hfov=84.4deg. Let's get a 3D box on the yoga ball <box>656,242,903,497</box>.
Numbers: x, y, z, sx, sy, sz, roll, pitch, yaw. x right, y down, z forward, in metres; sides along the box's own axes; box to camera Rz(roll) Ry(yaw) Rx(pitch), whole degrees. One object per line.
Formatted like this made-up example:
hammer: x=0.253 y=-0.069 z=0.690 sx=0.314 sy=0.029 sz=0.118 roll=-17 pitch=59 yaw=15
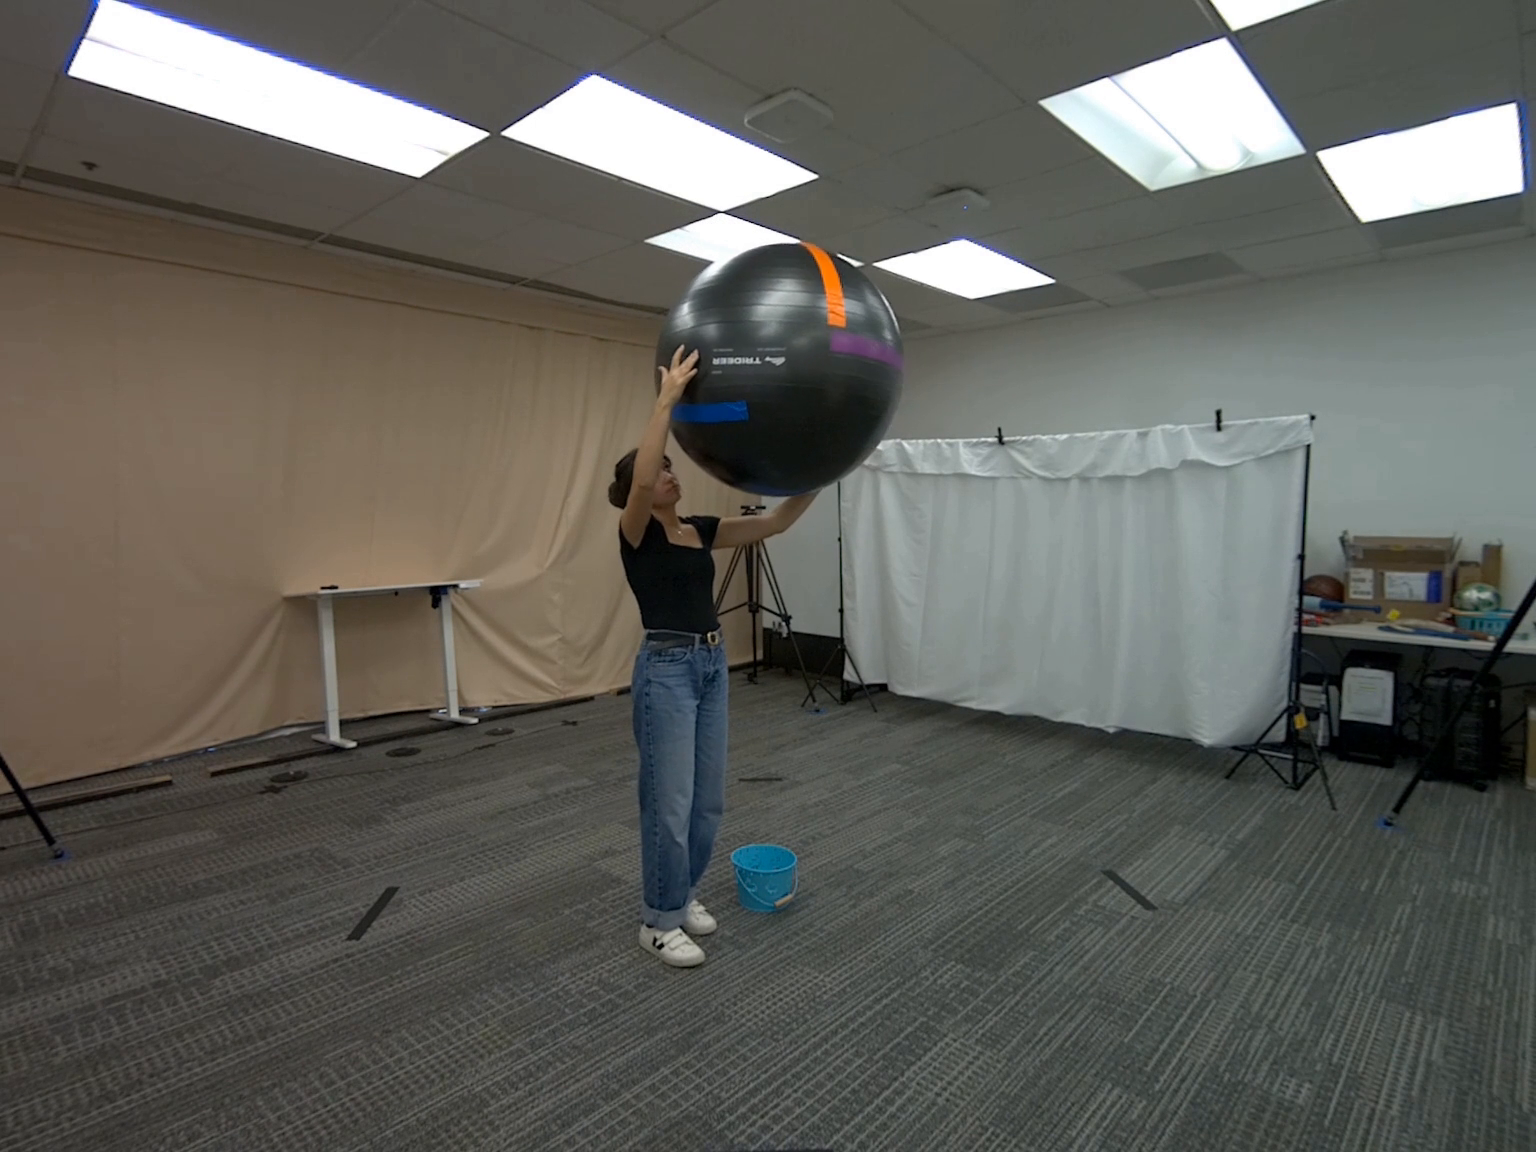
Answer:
yoga ball: x=0.022 y=-0.620 z=2.573 sx=0.757 sy=0.756 sz=0.760 roll=0 pitch=4 yaw=-2
